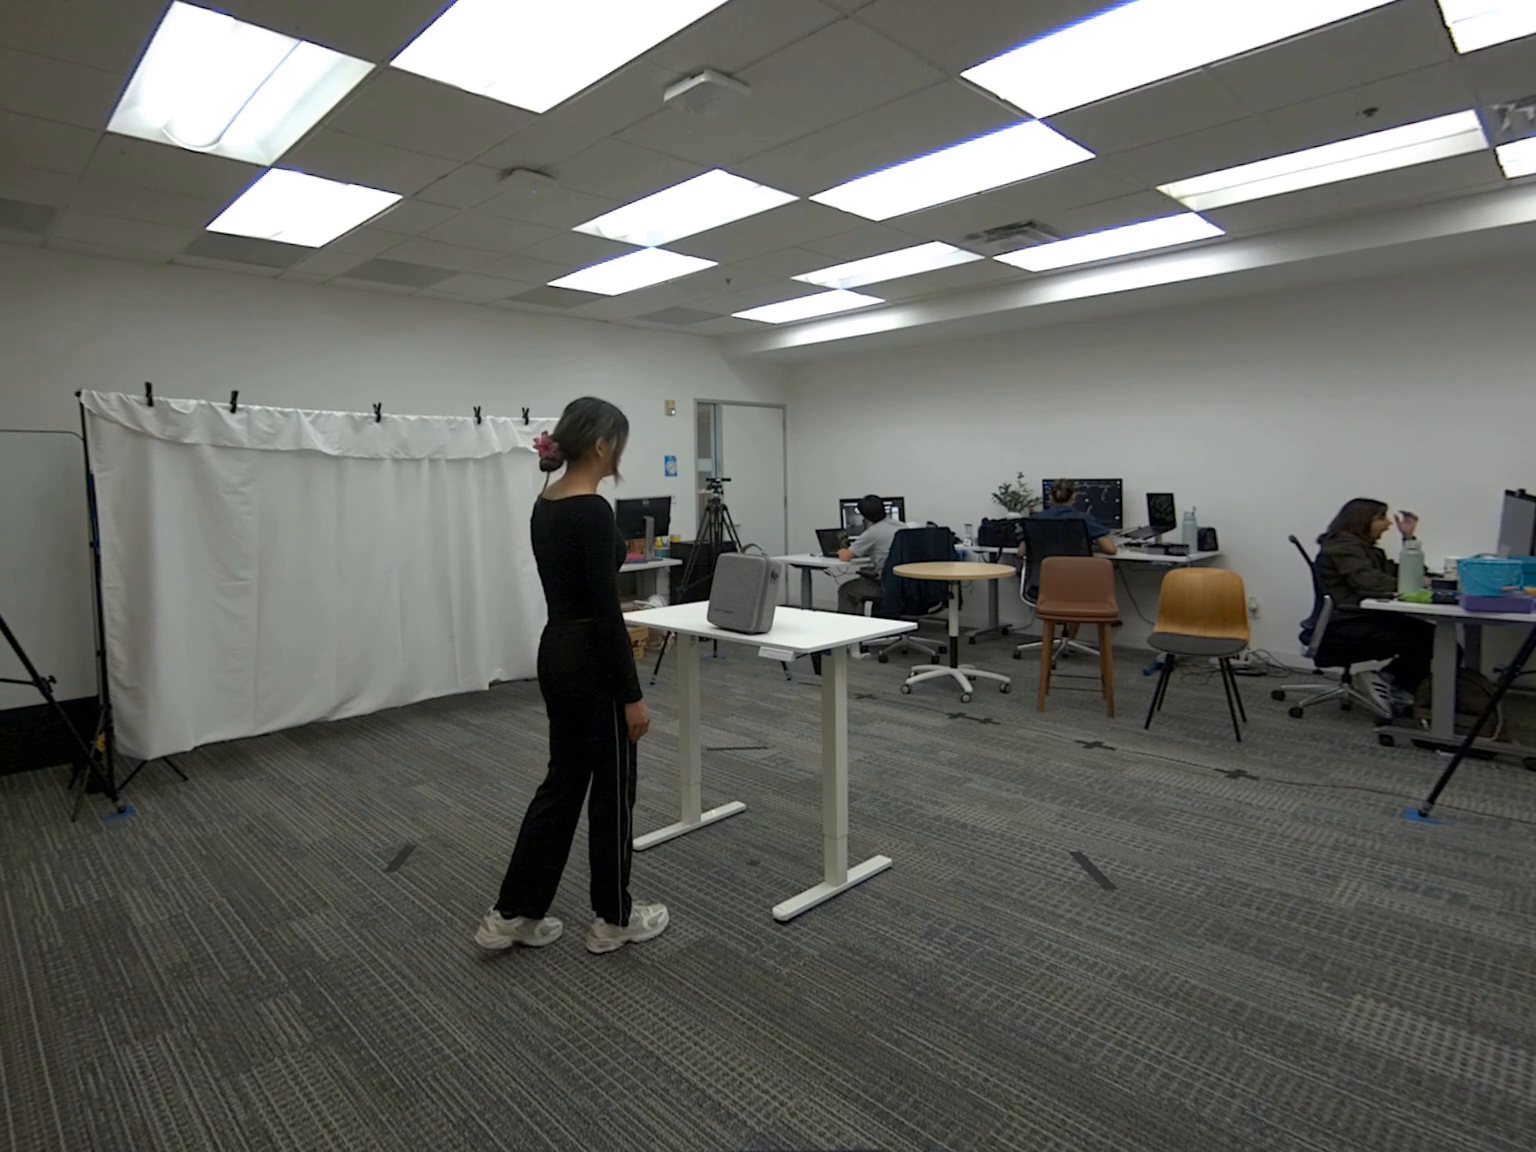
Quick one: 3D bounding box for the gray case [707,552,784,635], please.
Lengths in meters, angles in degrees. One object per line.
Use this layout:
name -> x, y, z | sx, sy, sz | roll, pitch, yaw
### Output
gray case -> -0.080, 0.052, 2.887 | 0.101, 0.261, 0.265 | 13, -5, -38
